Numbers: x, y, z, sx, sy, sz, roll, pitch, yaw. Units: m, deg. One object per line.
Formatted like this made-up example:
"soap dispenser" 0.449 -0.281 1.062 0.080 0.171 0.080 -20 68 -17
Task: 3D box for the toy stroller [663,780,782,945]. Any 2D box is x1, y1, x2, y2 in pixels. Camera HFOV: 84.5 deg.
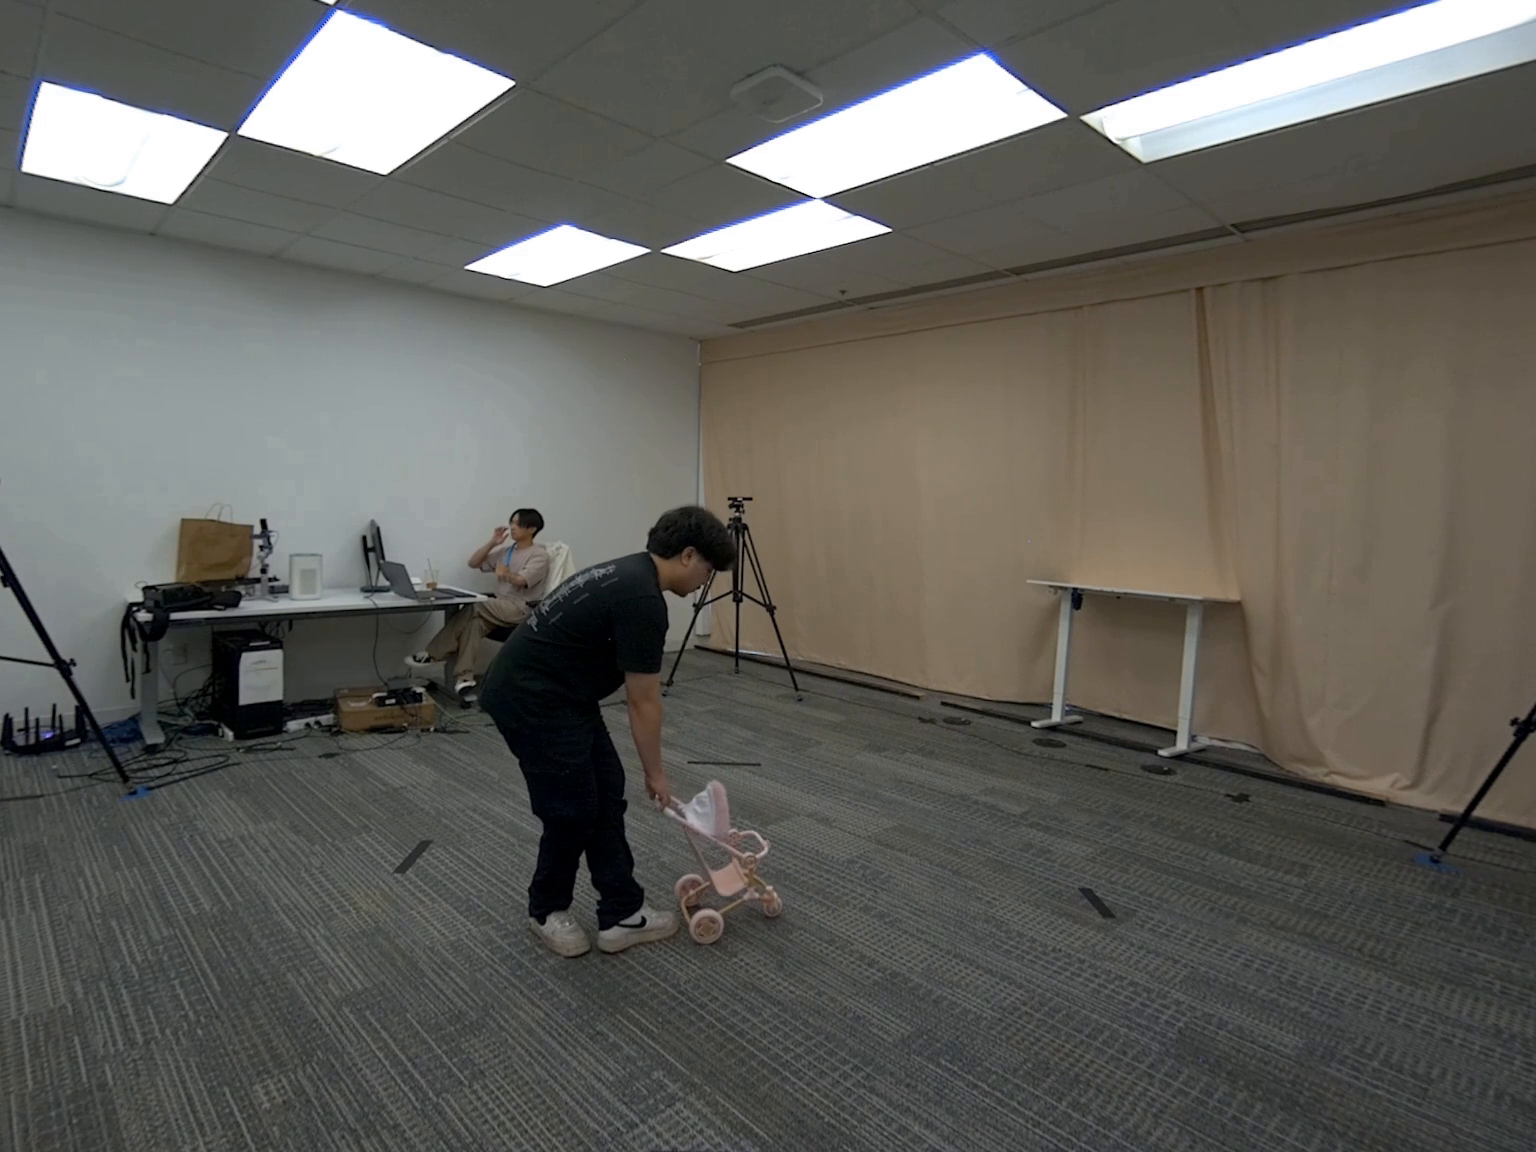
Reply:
"toy stroller" -0.161 0.910 2.752 0.339 0.532 0.285 -14 7 -11
